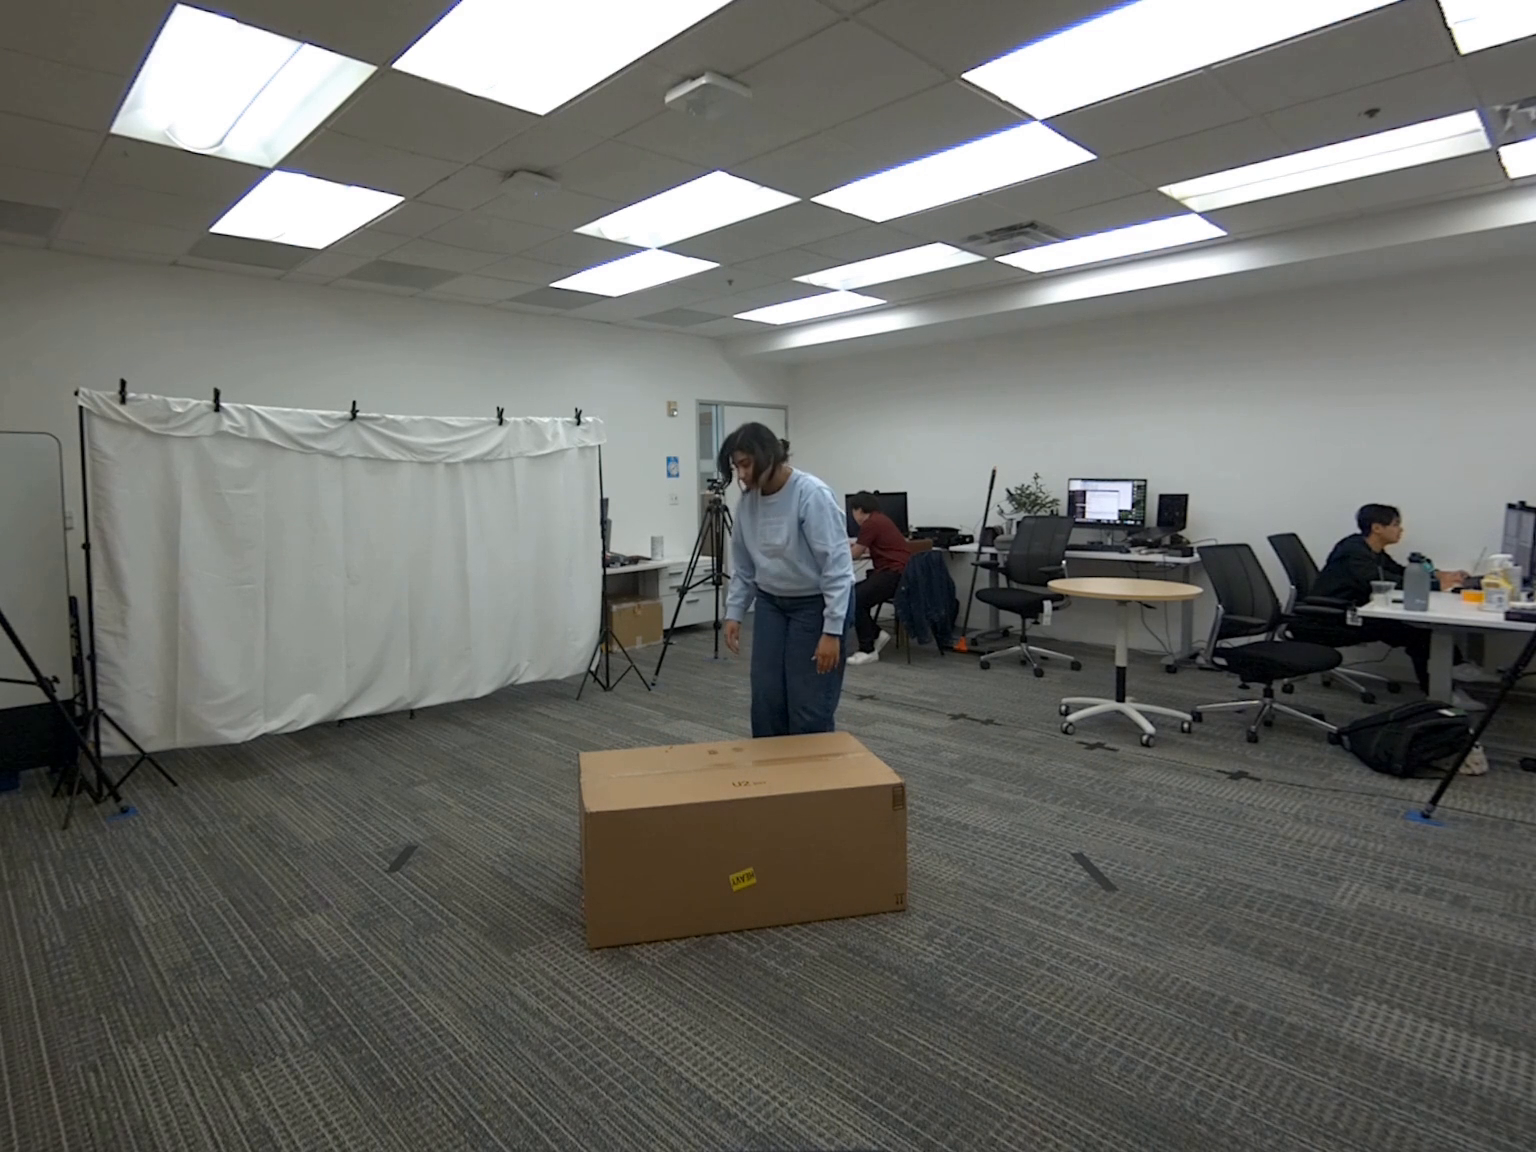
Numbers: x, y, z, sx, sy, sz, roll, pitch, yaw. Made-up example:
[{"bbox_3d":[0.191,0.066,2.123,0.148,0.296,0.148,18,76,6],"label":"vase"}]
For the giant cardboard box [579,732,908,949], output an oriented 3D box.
[{"bbox_3d":[-0.120,0.856,2.912,1.014,0.424,0.586,-2,5,-12],"label":"giant cardboard box"}]
